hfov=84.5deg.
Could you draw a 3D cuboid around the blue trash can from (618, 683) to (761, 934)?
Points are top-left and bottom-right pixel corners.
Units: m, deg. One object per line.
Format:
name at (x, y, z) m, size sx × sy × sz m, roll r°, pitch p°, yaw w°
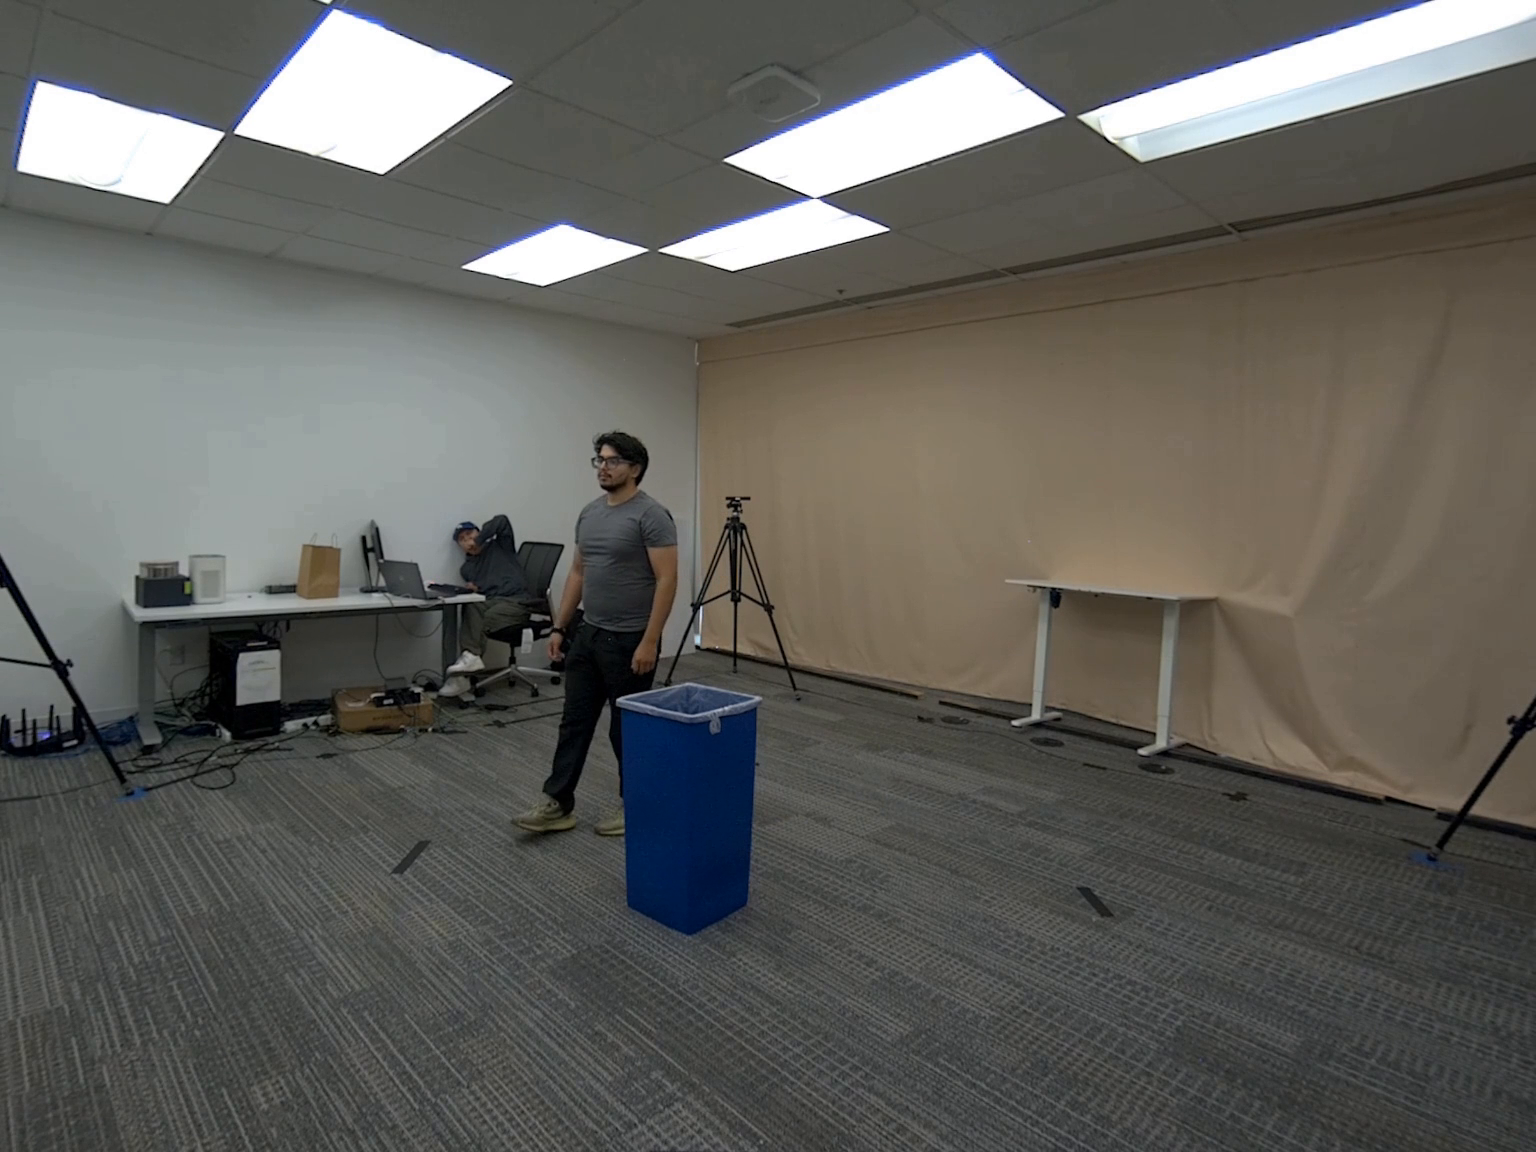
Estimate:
blue trash can at (-0.282, 0.768, 2.860) m, size 0.383 × 0.712 × 0.369 m, roll 4°, pitch 4°, yaw 39°
